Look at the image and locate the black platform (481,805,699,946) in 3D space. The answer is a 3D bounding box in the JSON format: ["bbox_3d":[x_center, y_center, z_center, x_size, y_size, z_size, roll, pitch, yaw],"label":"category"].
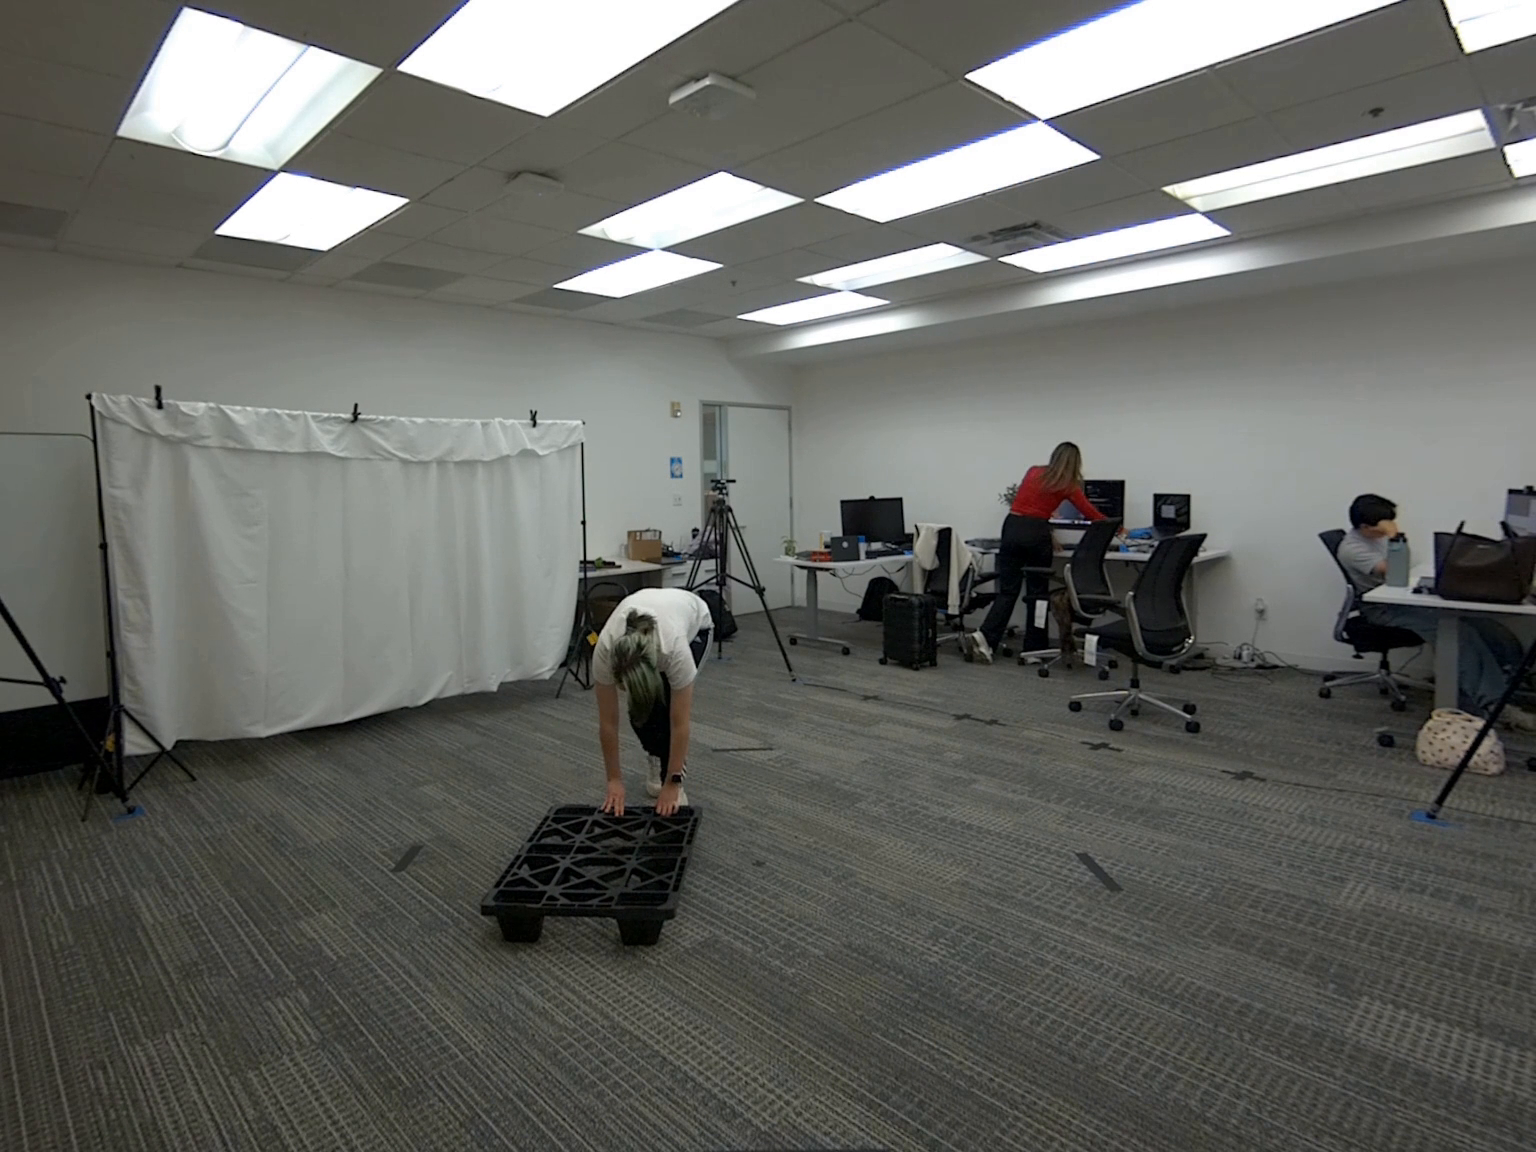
[{"bbox_3d":[-0.564,1.007,2.949,0.607,0.142,0.806,-2,6,3],"label":"black platform"}]
